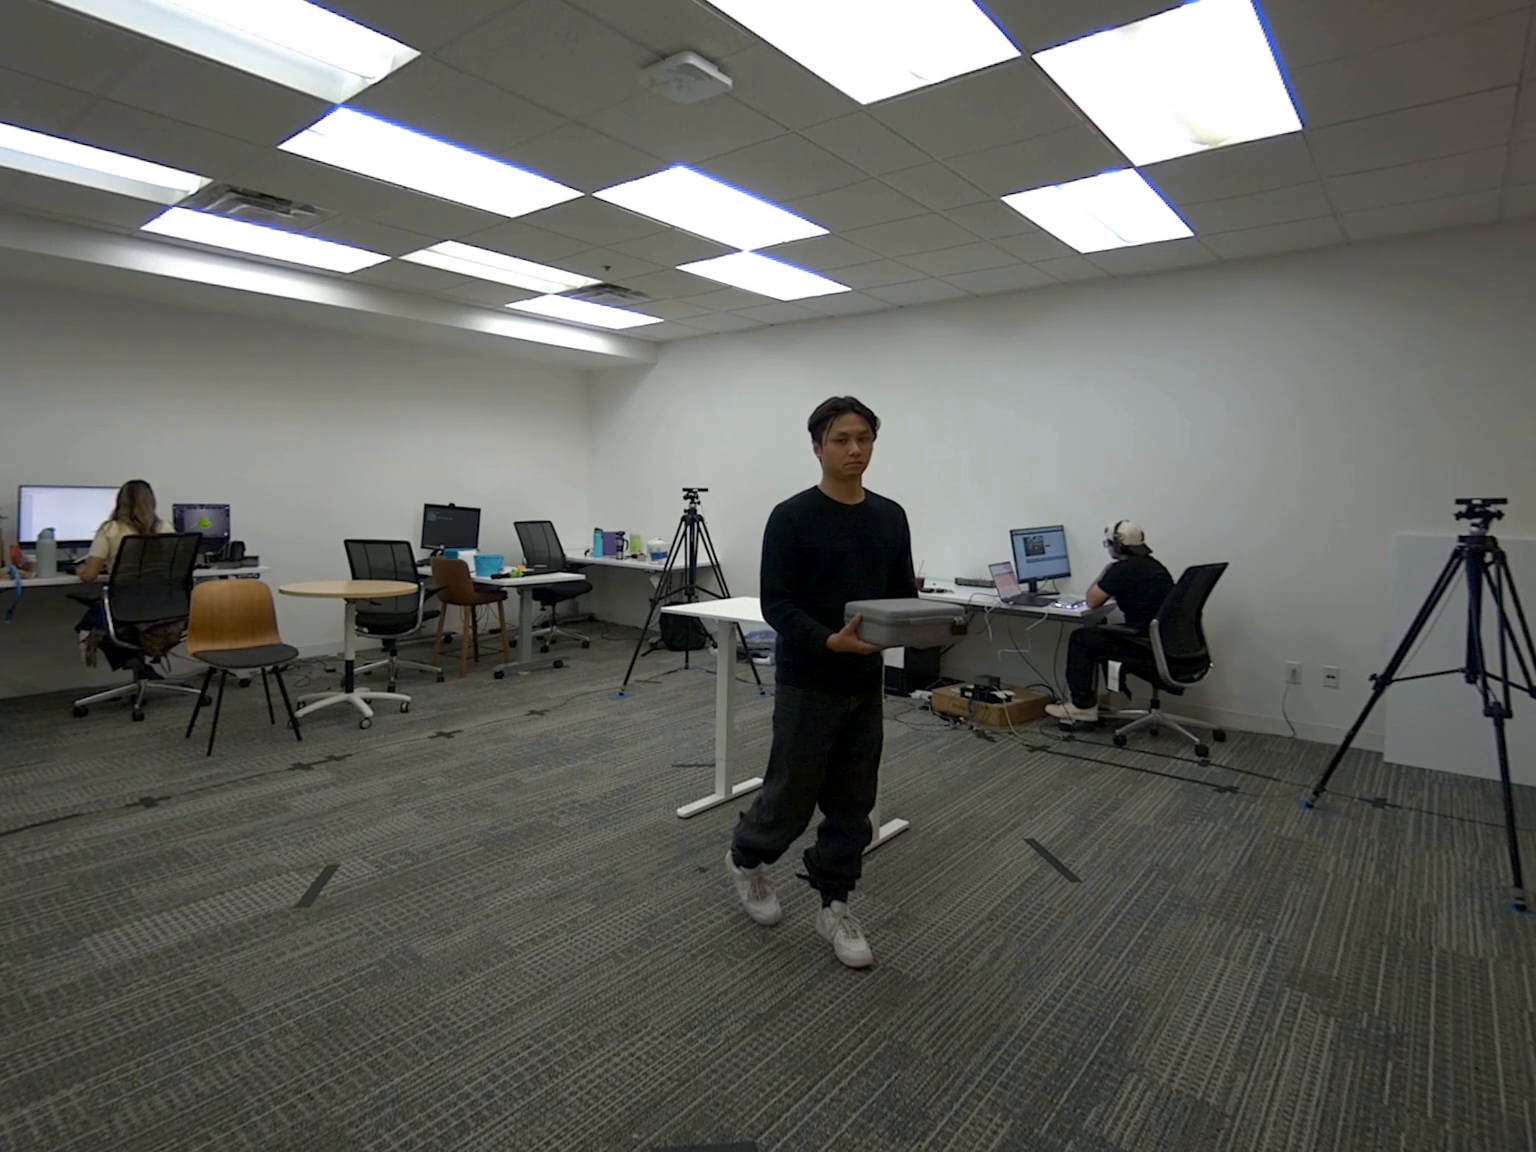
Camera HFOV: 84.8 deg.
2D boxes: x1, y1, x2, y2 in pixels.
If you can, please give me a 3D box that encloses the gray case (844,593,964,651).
[{"bbox_3d":[0.349,0.120,2.325,0.256,0.104,0.263,-5,6,-20],"label":"gray case"}]
